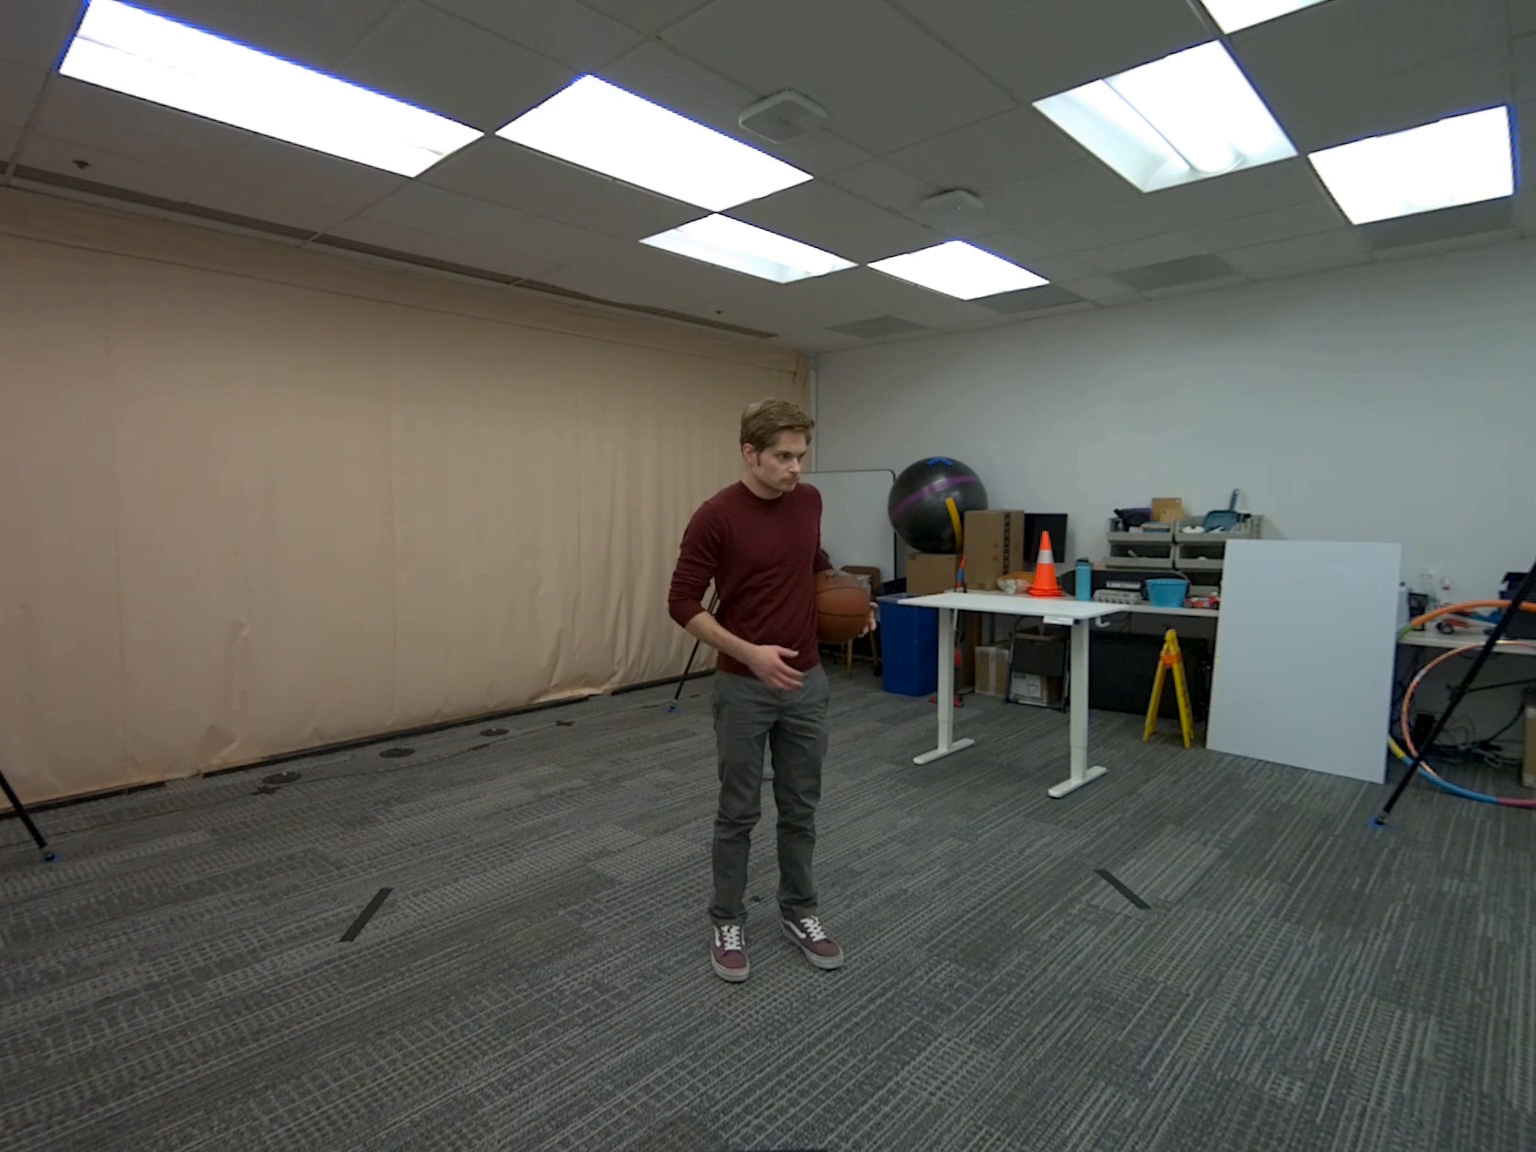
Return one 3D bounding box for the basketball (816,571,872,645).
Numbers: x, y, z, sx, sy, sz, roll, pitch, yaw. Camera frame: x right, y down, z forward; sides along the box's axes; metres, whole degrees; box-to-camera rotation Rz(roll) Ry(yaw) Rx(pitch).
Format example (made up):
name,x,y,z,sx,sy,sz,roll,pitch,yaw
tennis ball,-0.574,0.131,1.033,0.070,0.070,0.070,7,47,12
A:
name,x,y,z,sx,sy,sz,roll,pitch,yaw
basketball,0.211,0.100,2.698,0.236,0.235,0.237,0,4,-2
